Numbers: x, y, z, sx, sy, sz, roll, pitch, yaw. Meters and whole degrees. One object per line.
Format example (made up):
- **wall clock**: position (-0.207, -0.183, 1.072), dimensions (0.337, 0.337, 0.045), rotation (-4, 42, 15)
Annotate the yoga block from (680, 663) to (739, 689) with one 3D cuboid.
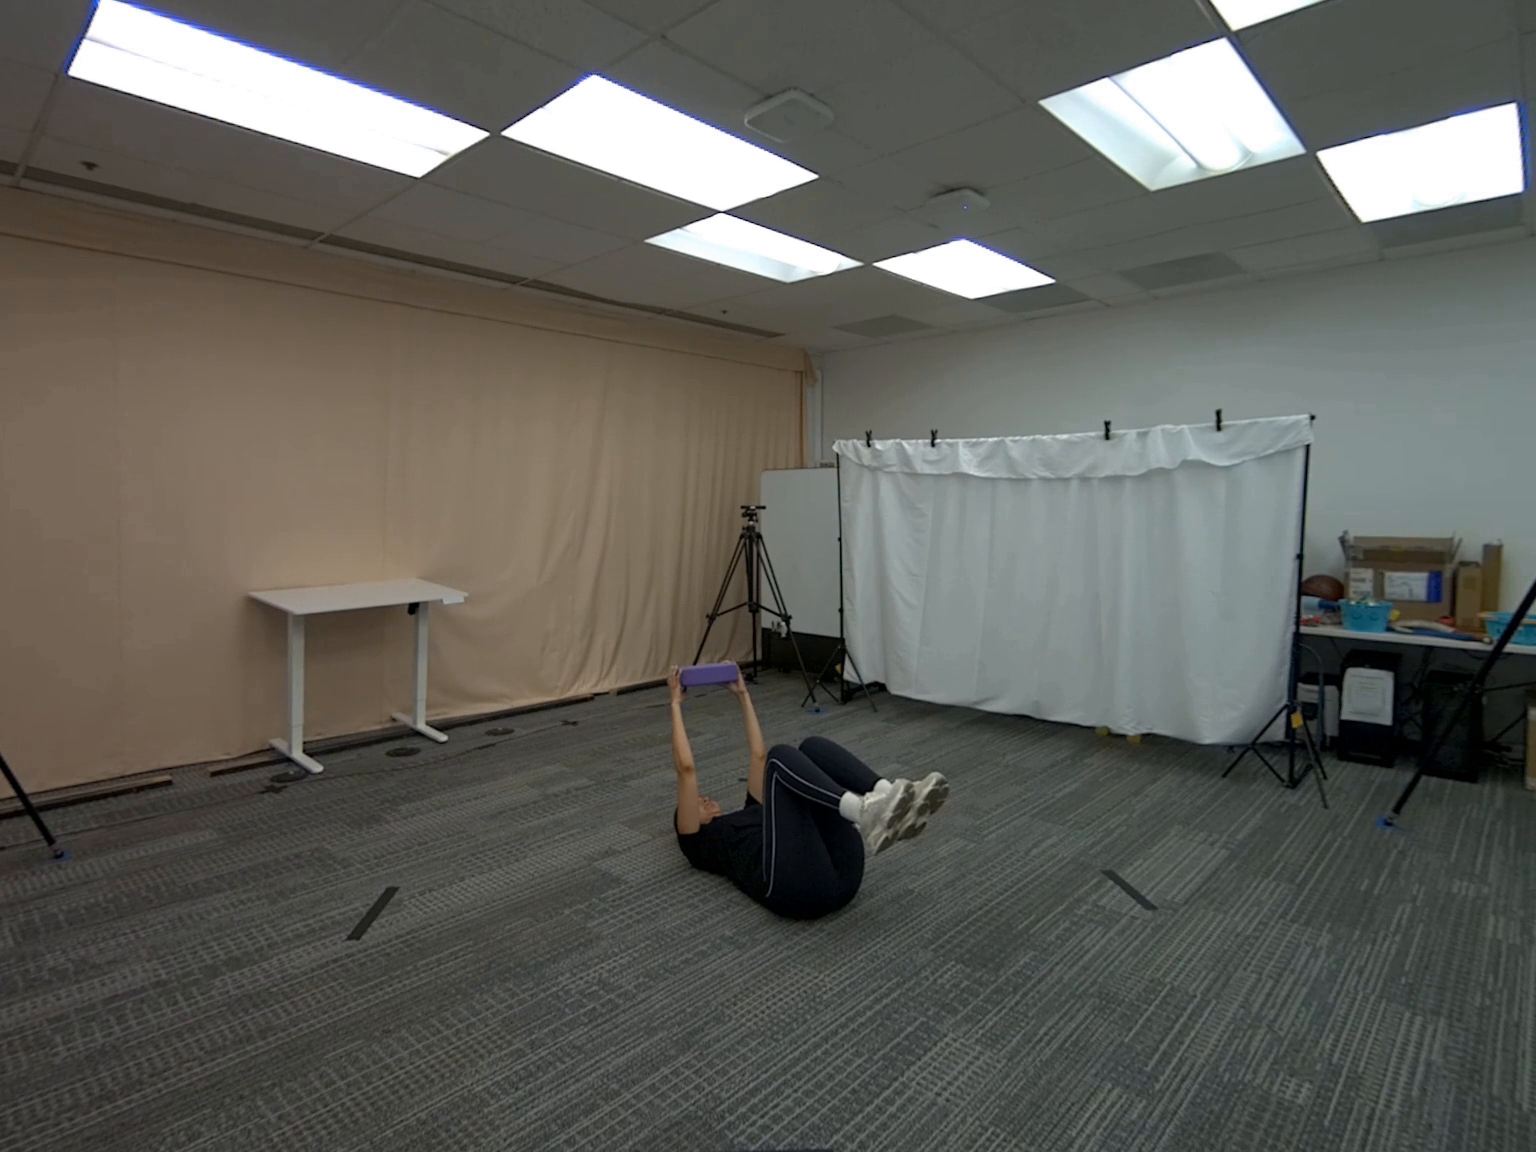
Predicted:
- **yoga block**: position (-0.260, 0.403, 3.470), dimensions (0.223, 0.076, 0.153), rotation (-3, -3, -31)
